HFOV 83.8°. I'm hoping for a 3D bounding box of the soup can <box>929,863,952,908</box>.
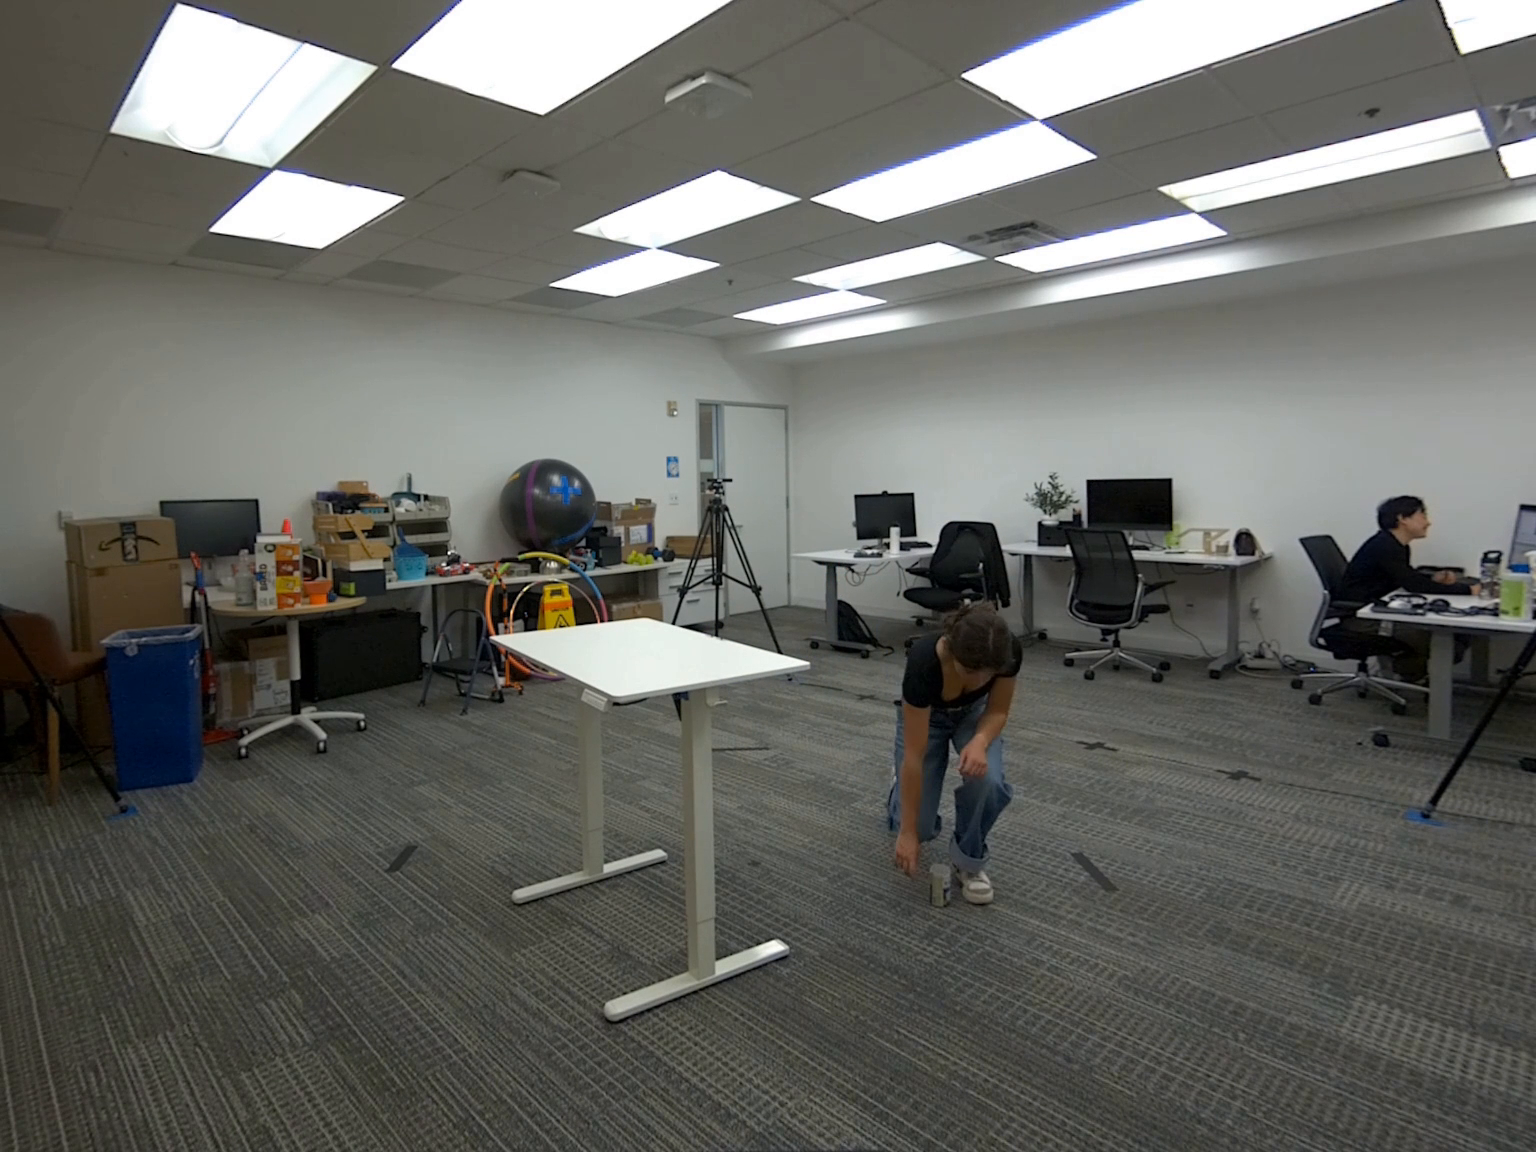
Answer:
[{"bbox_3d":[0.553,1.005,2.781,0.067,0.121,0.068,-1,8,-2],"label":"soup can"}]
